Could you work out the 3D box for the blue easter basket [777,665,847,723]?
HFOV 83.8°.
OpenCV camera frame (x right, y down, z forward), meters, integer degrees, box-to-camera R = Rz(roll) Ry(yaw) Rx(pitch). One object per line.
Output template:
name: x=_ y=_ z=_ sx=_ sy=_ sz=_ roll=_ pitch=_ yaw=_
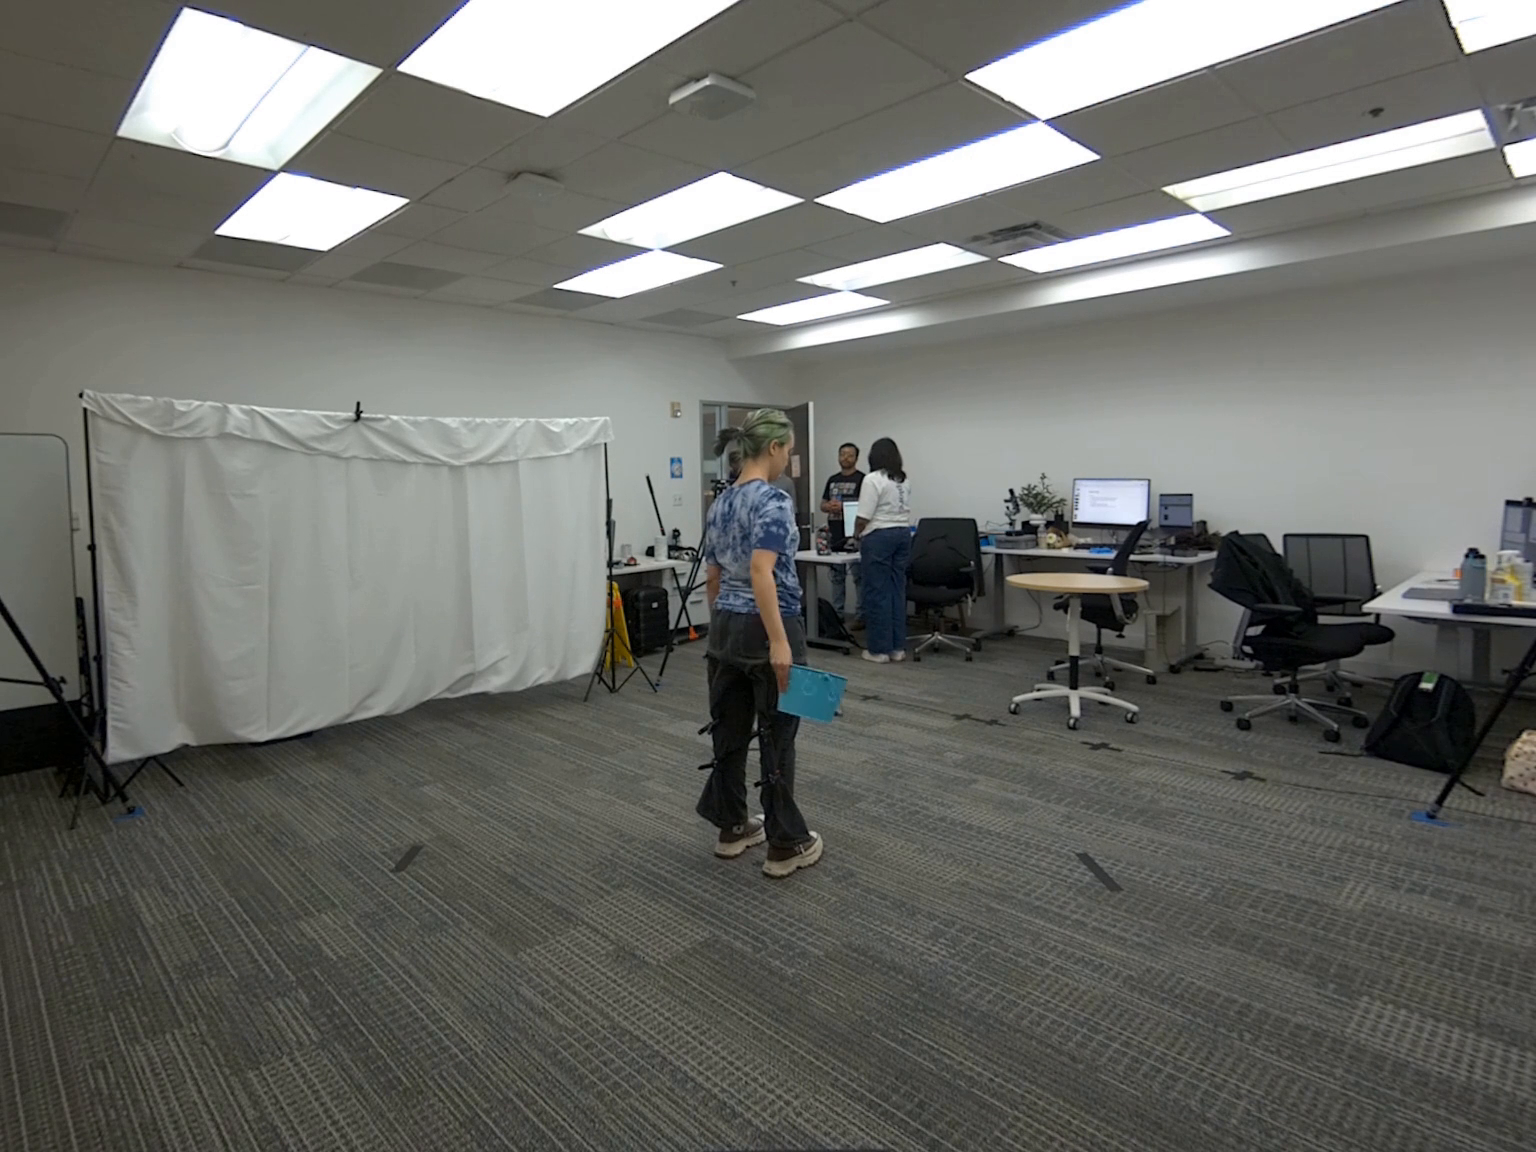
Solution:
blue easter basket: x=0.149 y=0.376 z=2.776 sx=0.244 sy=0.156 sz=0.243 roll=10 pitch=-4 yaw=-1
